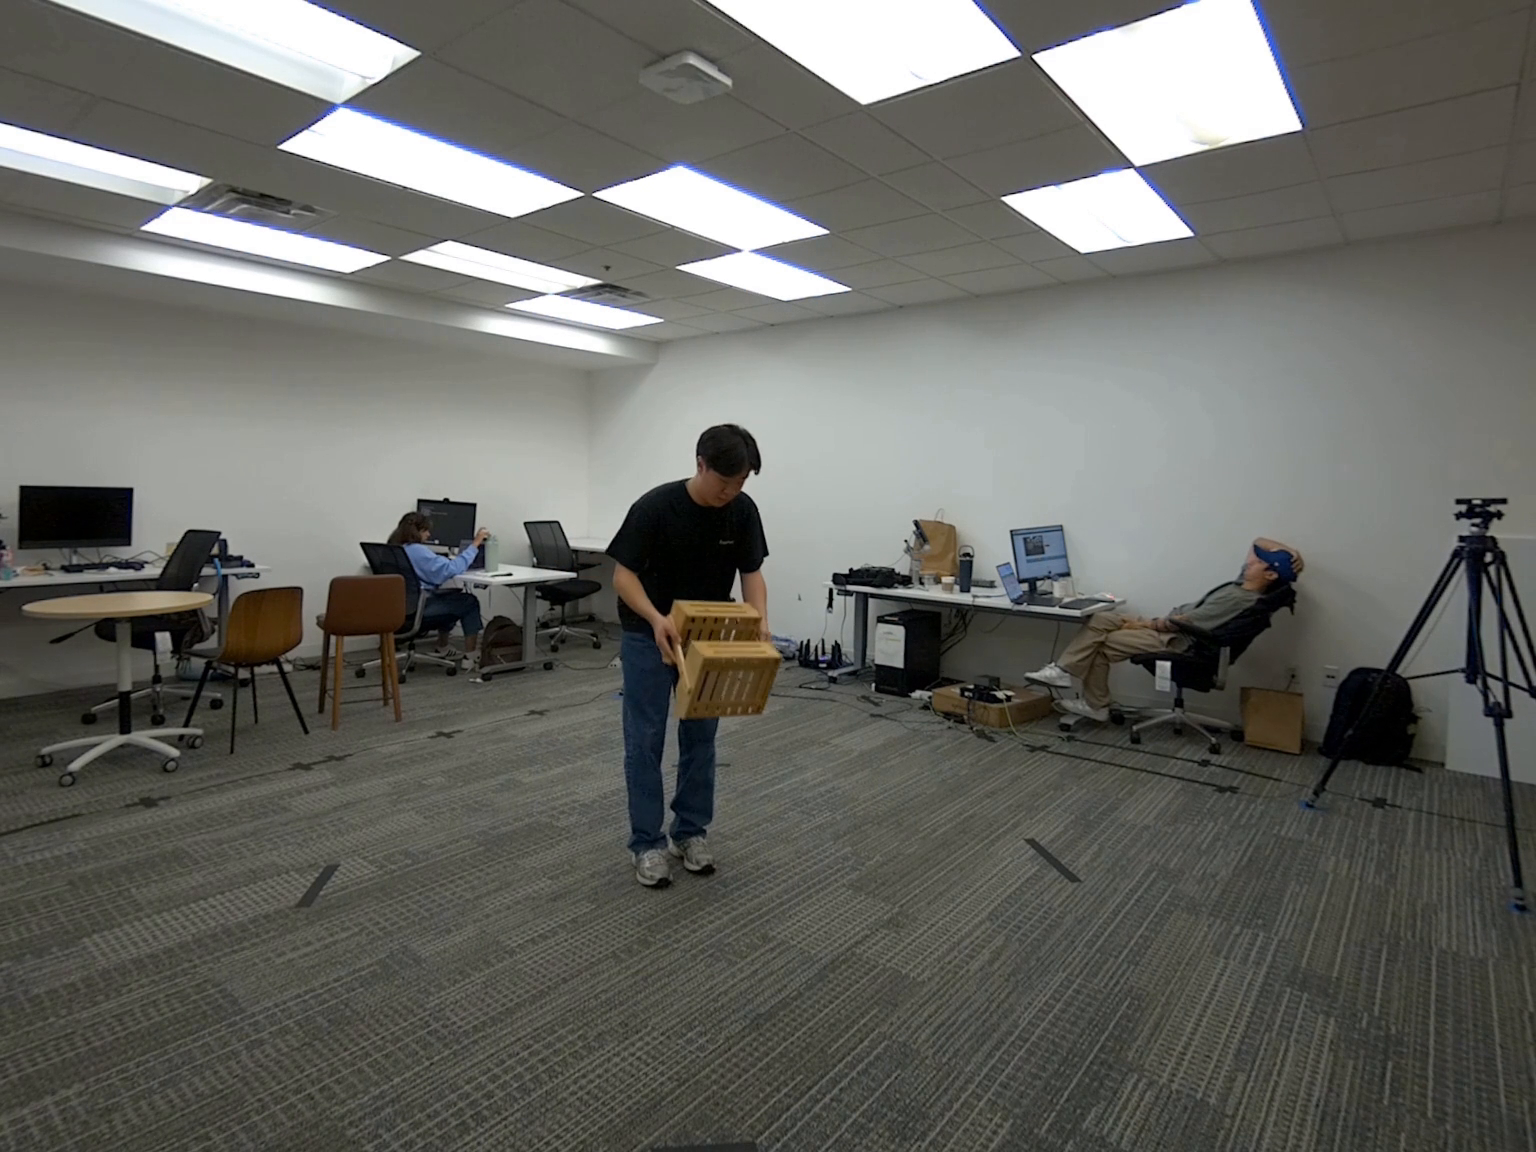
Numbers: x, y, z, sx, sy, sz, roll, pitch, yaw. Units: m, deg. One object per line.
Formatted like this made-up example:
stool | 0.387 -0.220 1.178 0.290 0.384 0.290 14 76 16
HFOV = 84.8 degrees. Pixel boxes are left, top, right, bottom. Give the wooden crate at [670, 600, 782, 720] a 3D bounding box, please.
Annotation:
wooden crate | -0.184 0.275 2.830 0.314 0.298 0.285 4 26 -33
